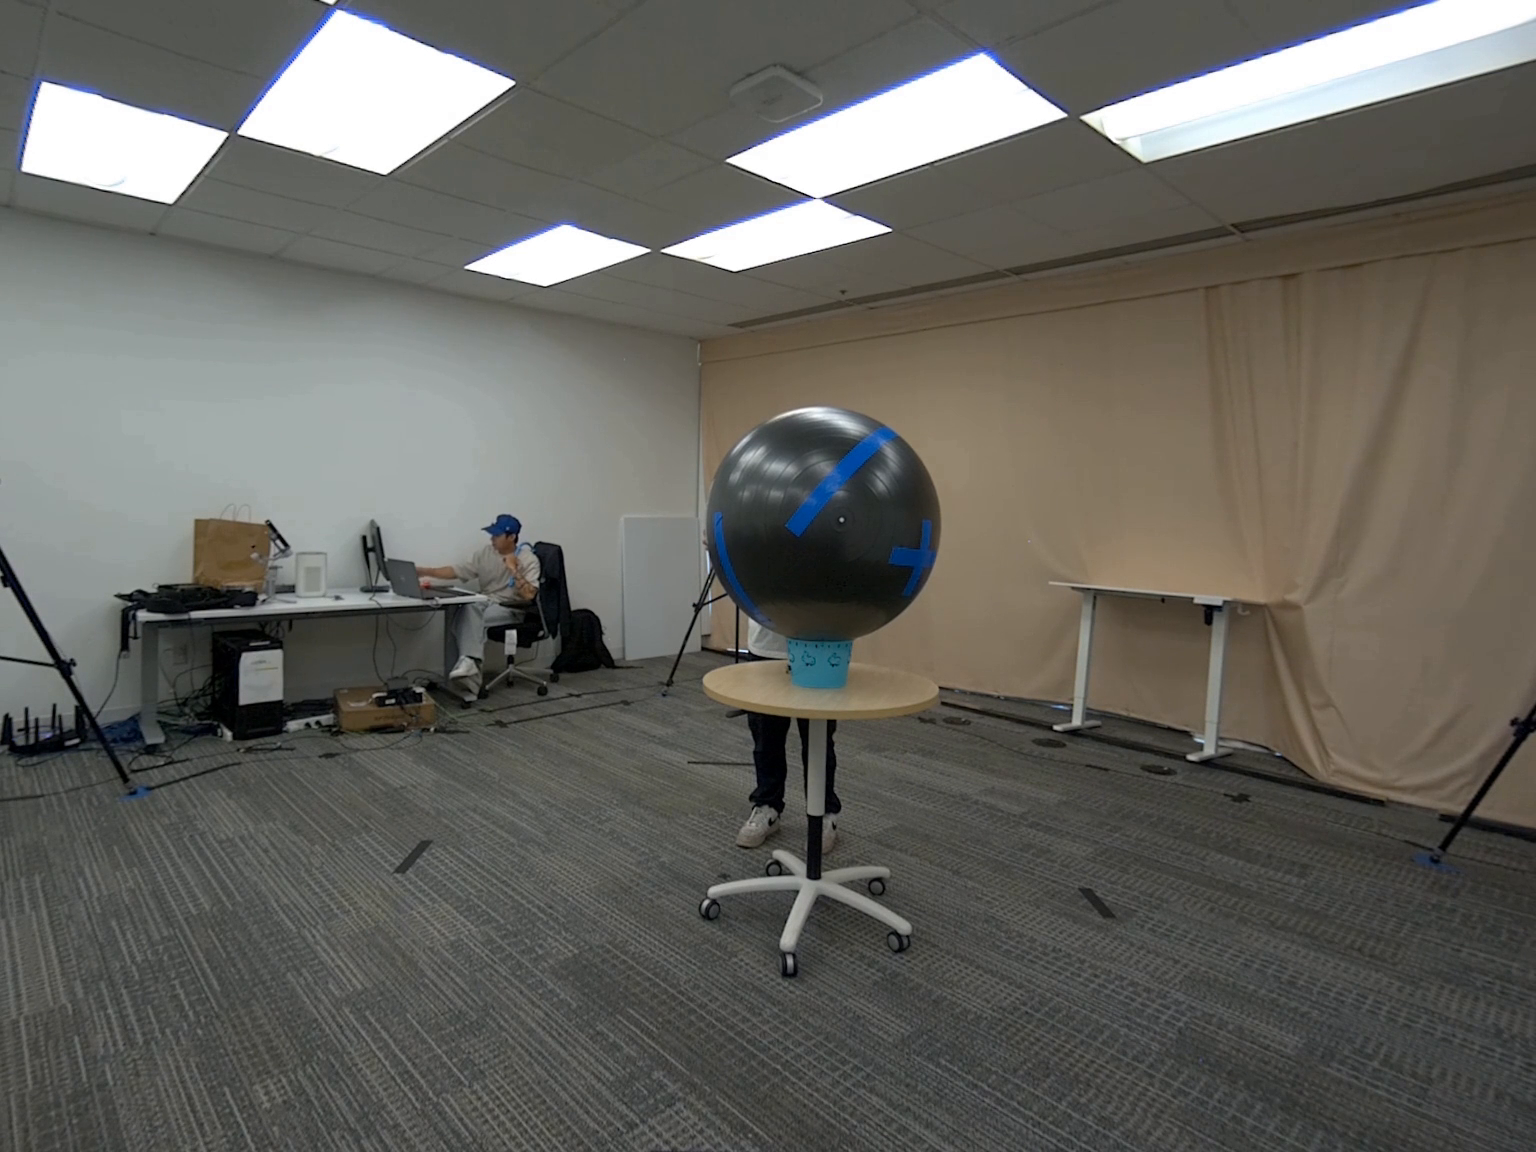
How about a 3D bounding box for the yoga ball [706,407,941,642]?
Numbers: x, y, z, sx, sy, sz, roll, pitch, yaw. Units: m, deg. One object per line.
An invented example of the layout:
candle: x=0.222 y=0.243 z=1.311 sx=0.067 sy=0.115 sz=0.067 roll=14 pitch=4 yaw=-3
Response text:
yoga ball: x=0.168 y=-0.161 z=2.727 sx=0.757 sy=0.756 sz=0.760 roll=1 pitch=4 yaw=-1
